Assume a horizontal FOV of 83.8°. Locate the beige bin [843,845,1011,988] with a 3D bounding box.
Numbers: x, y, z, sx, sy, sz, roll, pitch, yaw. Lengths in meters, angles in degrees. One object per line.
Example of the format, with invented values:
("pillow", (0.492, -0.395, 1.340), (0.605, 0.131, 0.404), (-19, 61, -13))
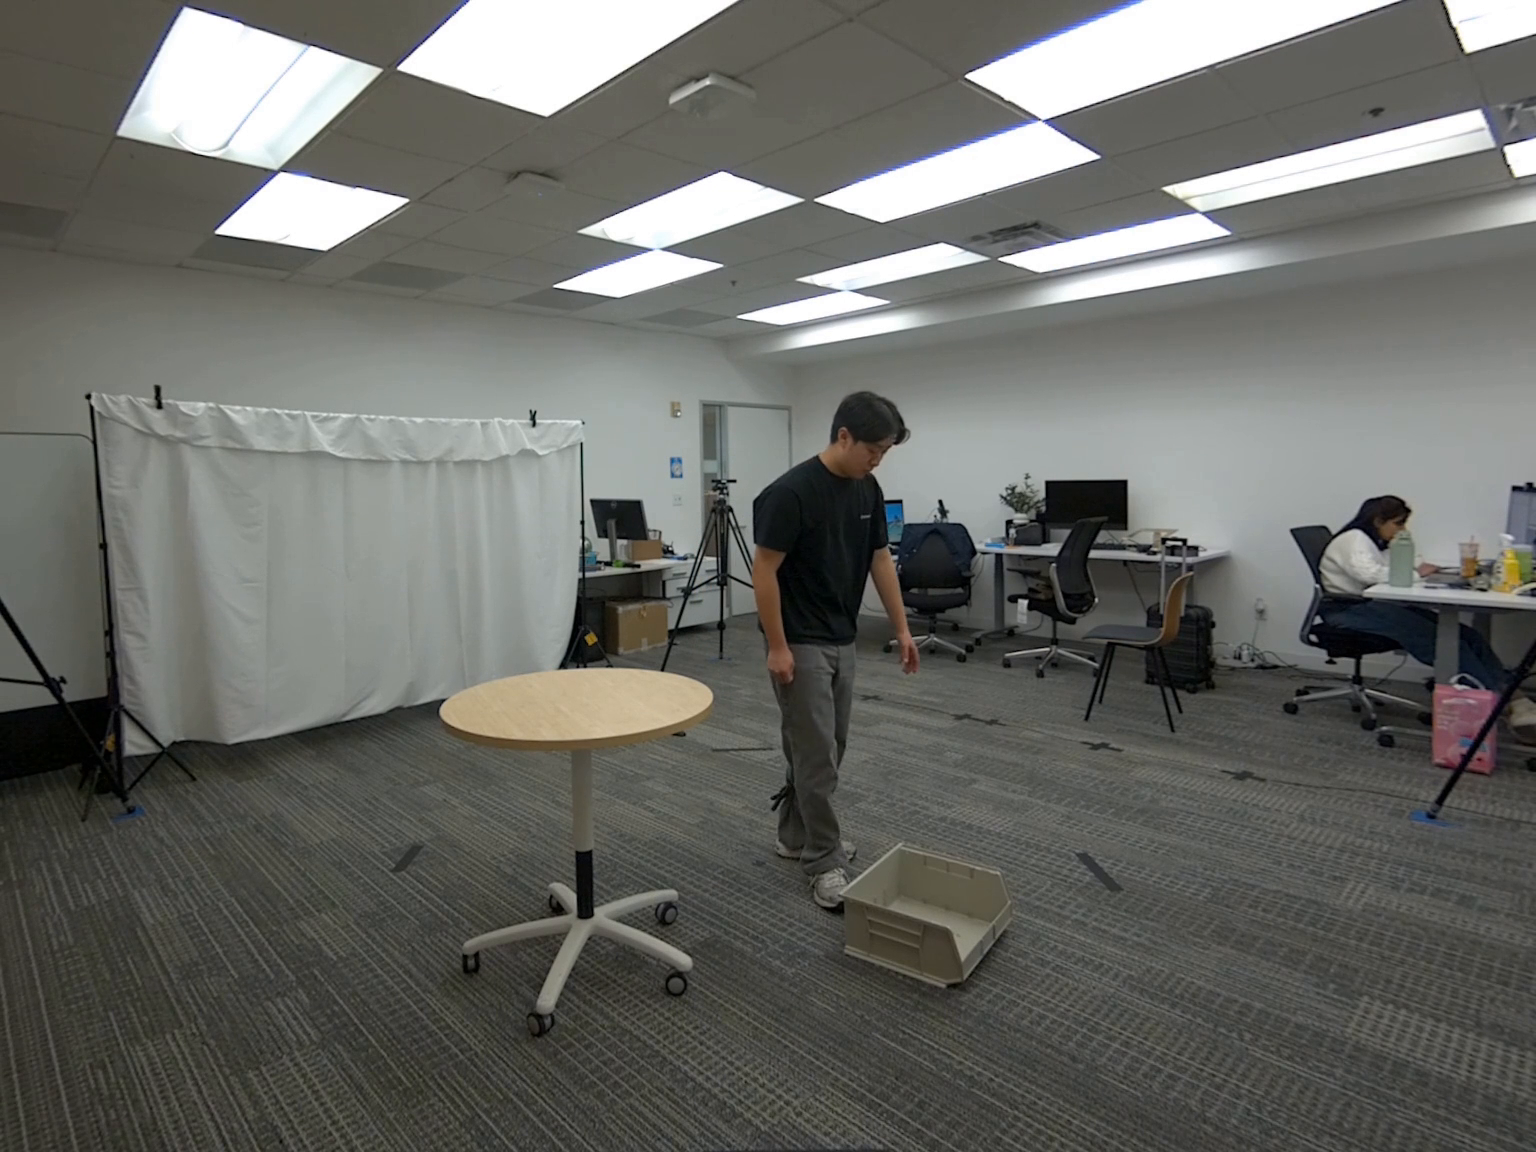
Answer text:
("beige bin", (0.482, 1.007, 2.566), (0.388, 0.188, 0.412), (2, 7, 35))
